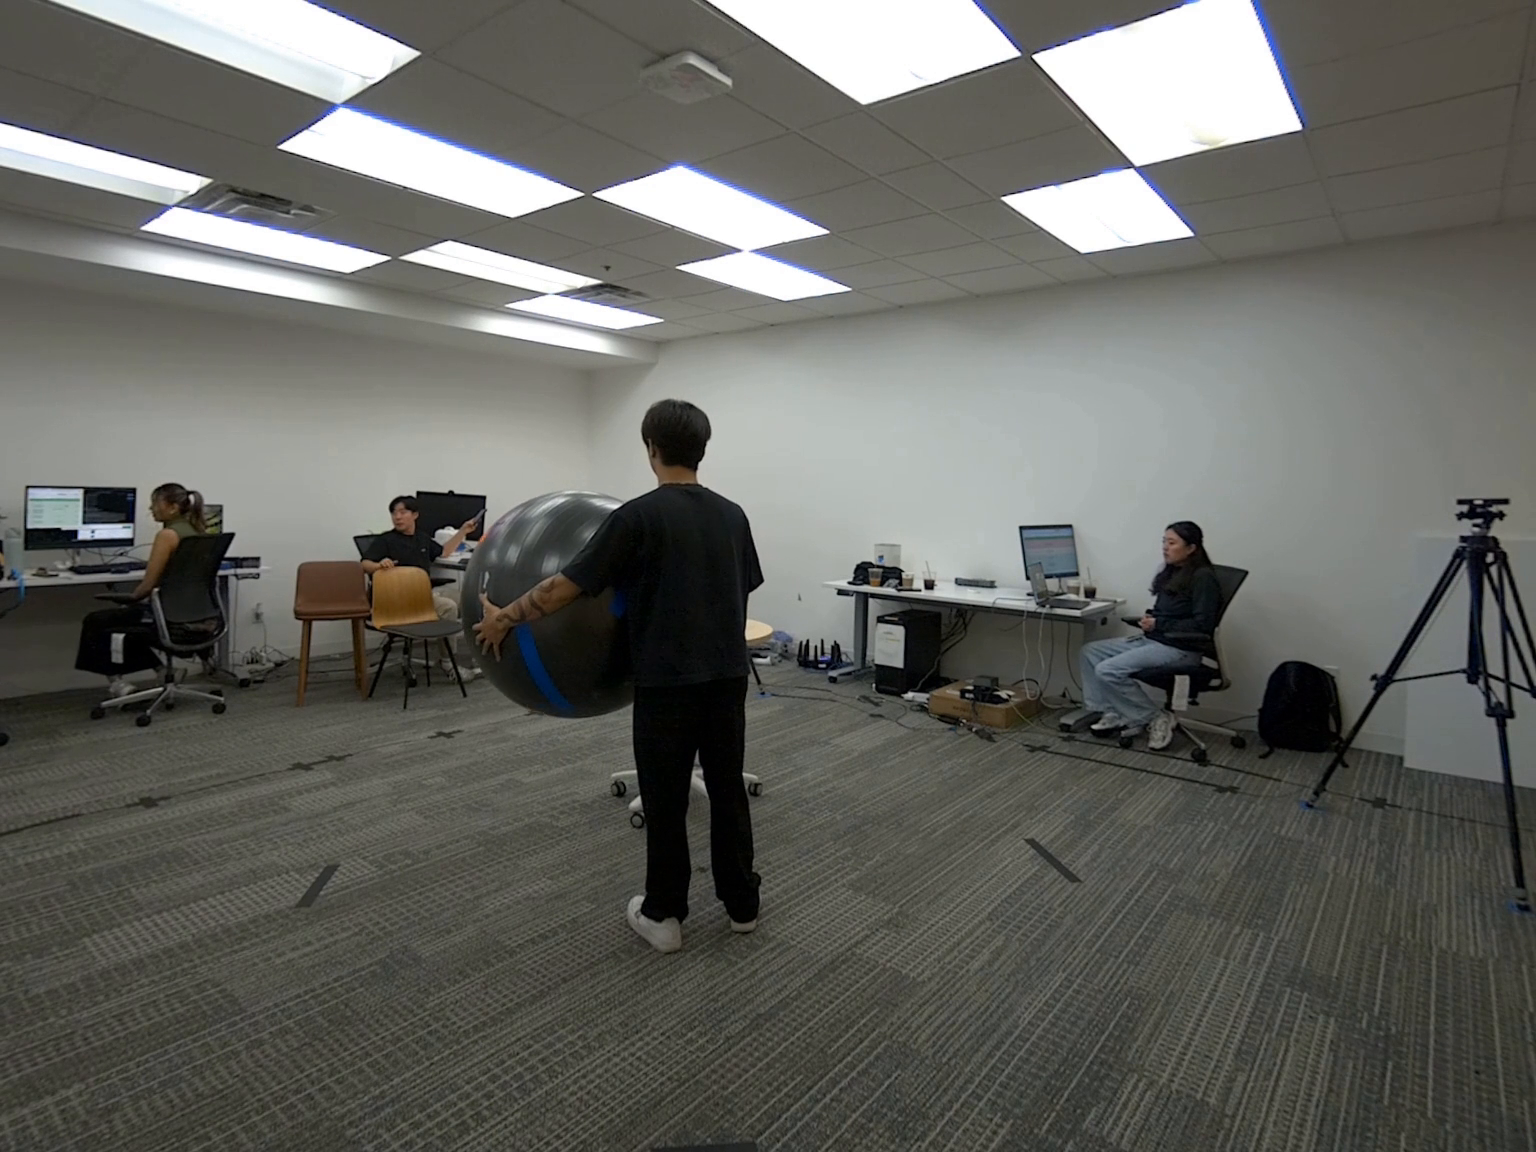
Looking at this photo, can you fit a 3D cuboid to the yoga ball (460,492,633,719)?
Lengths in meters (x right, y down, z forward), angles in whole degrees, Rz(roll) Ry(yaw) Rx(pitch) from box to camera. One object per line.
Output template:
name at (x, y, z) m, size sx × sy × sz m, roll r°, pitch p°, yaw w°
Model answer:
yoga ball at (-0.657, 0.097, 2.870) m, size 0.757 × 0.755 × 0.762 m, roll 1°, pitch 4°, yaw -2°
